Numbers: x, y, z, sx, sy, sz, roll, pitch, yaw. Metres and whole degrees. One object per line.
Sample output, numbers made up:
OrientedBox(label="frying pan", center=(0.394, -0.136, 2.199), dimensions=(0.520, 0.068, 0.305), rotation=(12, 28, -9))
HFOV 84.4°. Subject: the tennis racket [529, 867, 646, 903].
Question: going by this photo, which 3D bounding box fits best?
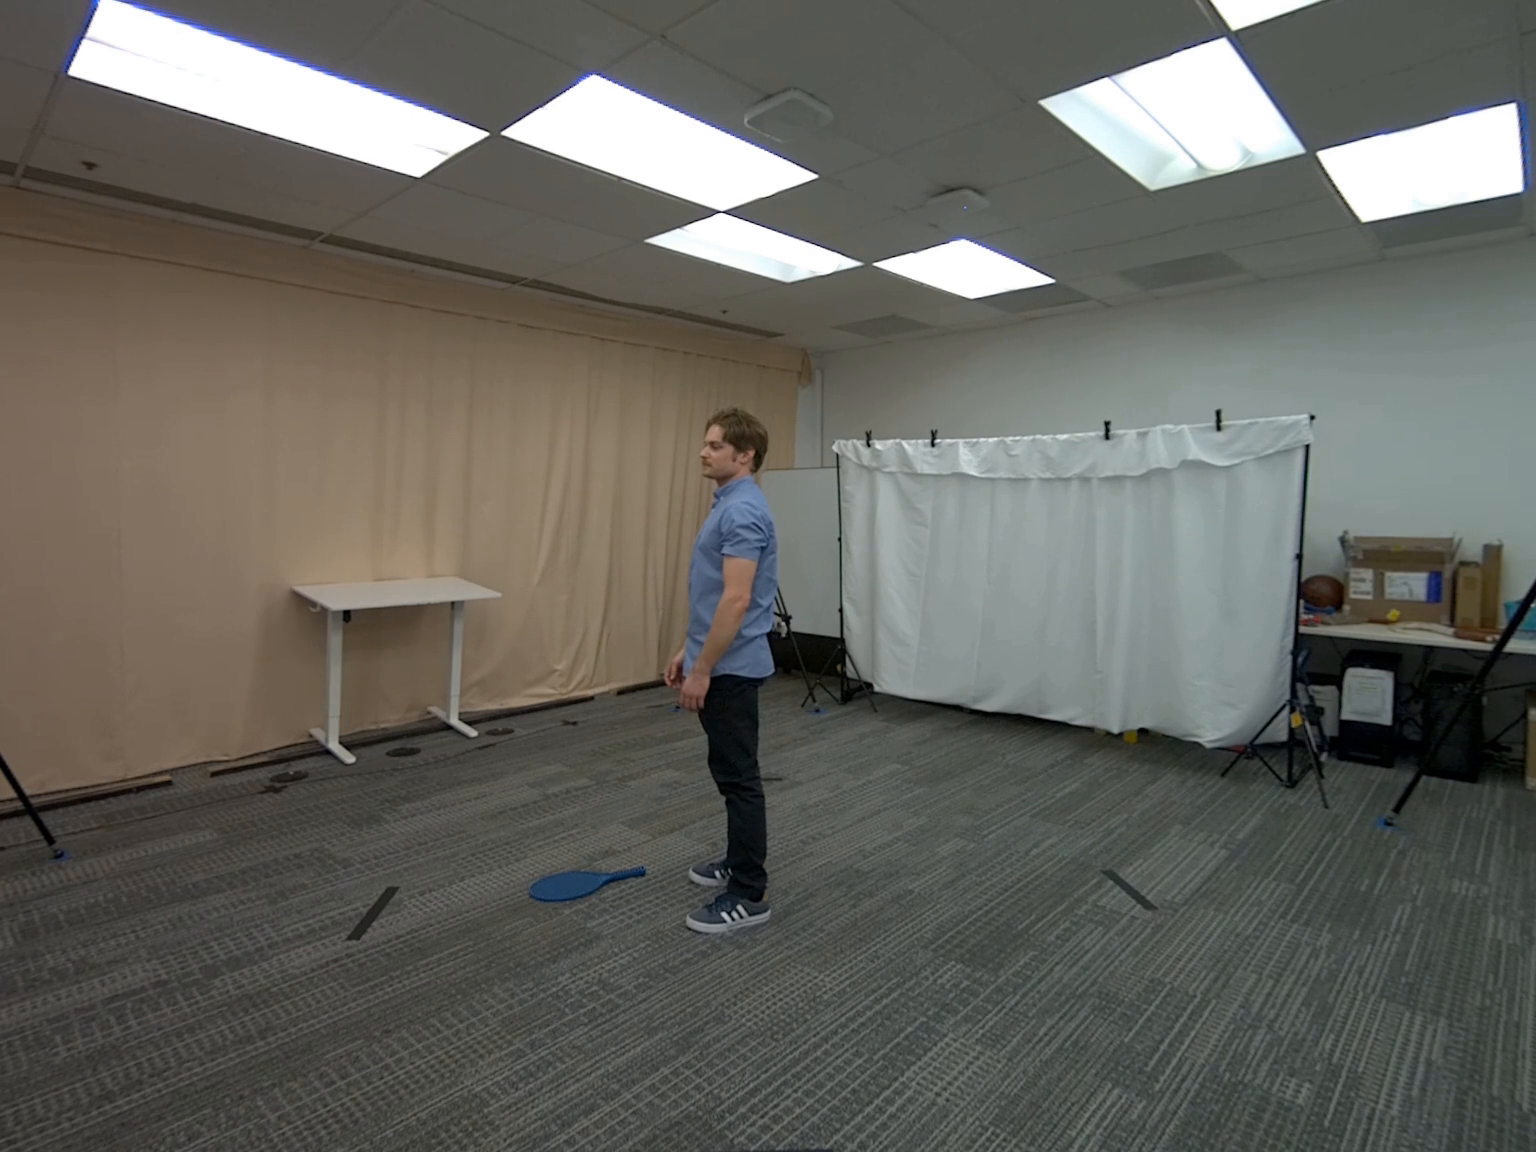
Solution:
OrientedBox(label="tennis racket", center=(-0.663, 1.124, 3.110), dimensions=(0.423, 0.031, 0.219), rotation=(-4, 5, -23))
